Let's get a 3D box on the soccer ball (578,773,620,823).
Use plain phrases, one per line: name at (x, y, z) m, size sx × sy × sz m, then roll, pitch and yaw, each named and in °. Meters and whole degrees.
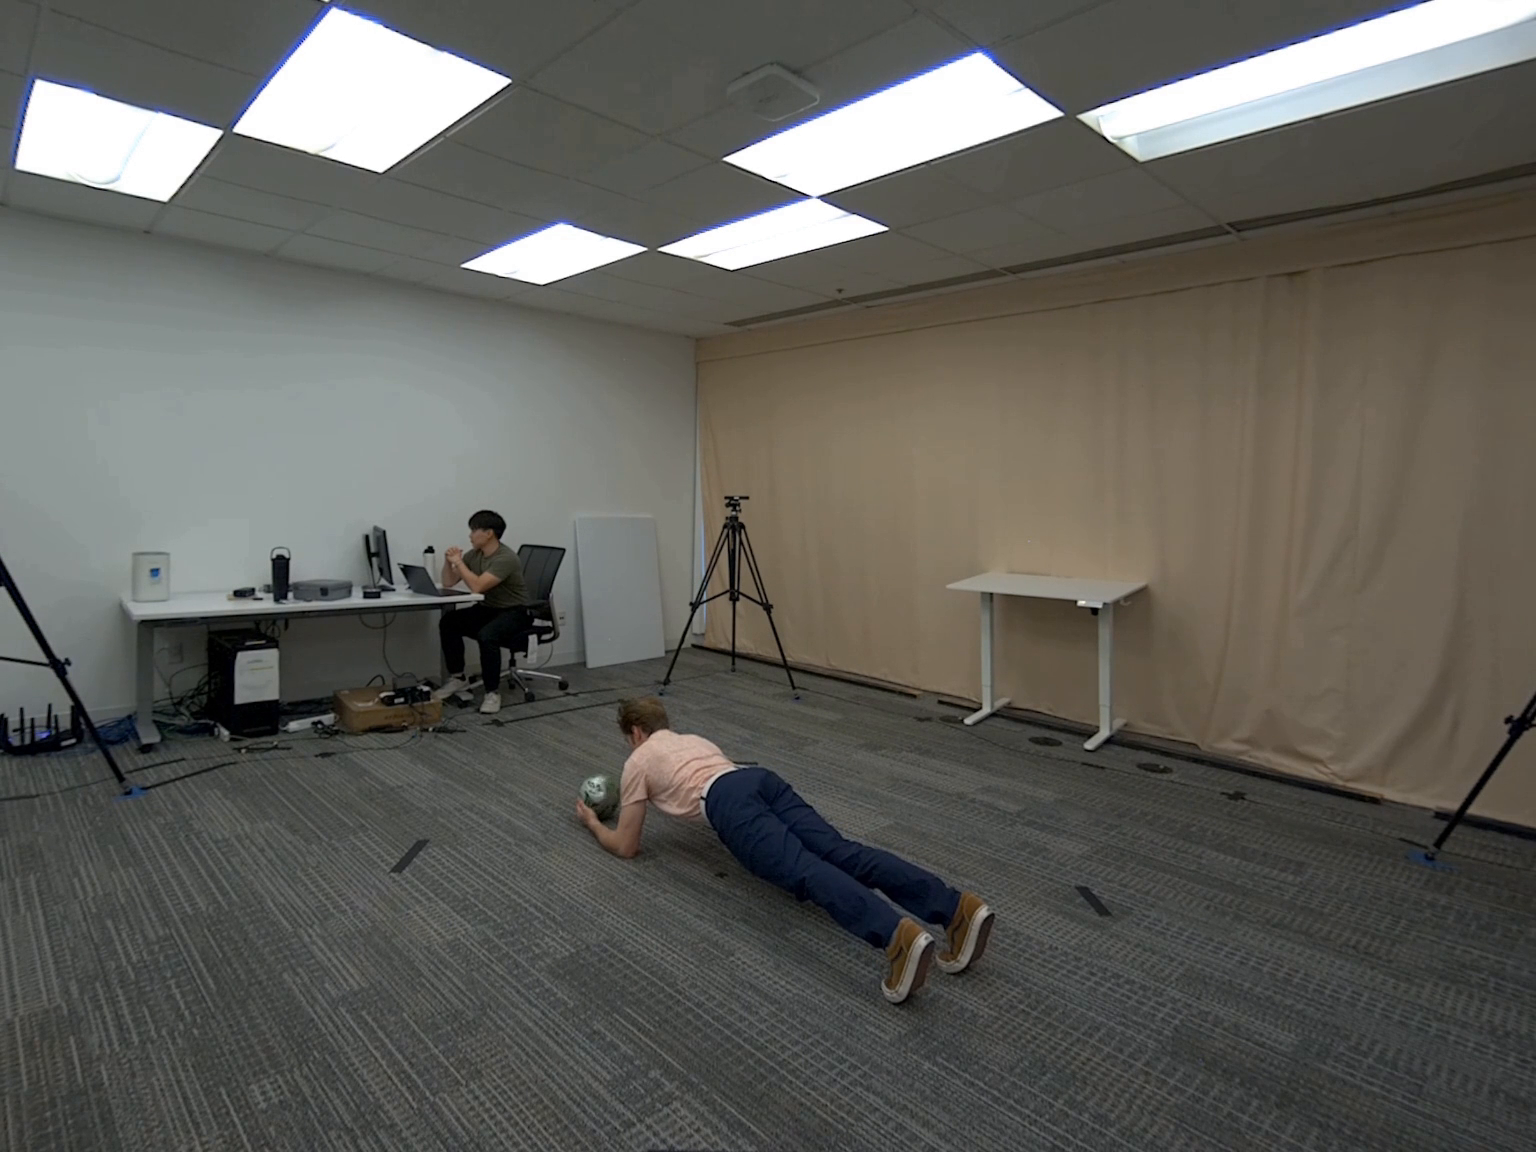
soccer ball at (-0.722, 0.948, 3.641) m, size 0.187 × 0.187 × 0.188 m, roll 1°, pitch 4°, yaw -1°
